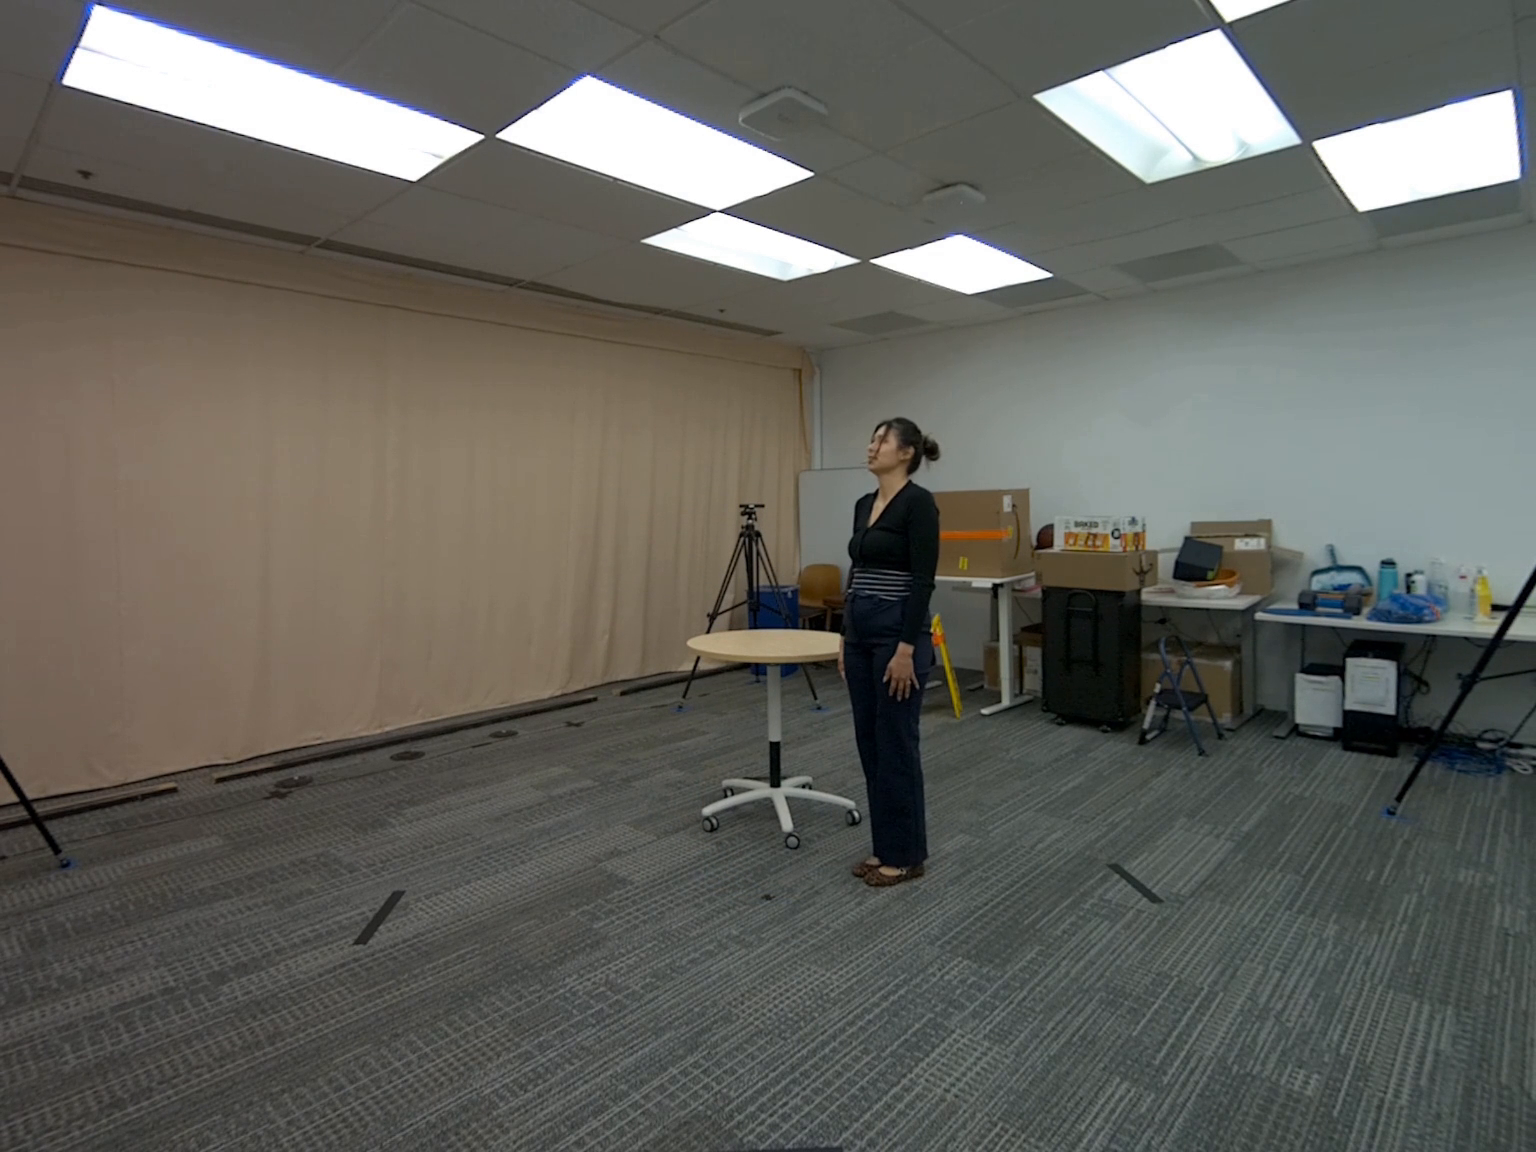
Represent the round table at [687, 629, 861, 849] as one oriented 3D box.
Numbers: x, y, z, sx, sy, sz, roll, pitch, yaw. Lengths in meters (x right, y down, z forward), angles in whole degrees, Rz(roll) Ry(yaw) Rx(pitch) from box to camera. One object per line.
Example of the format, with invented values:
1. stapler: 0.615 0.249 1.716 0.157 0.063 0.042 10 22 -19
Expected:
1. round table: 0.028 0.683 3.719 0.763 0.793 0.766 -1 3 -2
